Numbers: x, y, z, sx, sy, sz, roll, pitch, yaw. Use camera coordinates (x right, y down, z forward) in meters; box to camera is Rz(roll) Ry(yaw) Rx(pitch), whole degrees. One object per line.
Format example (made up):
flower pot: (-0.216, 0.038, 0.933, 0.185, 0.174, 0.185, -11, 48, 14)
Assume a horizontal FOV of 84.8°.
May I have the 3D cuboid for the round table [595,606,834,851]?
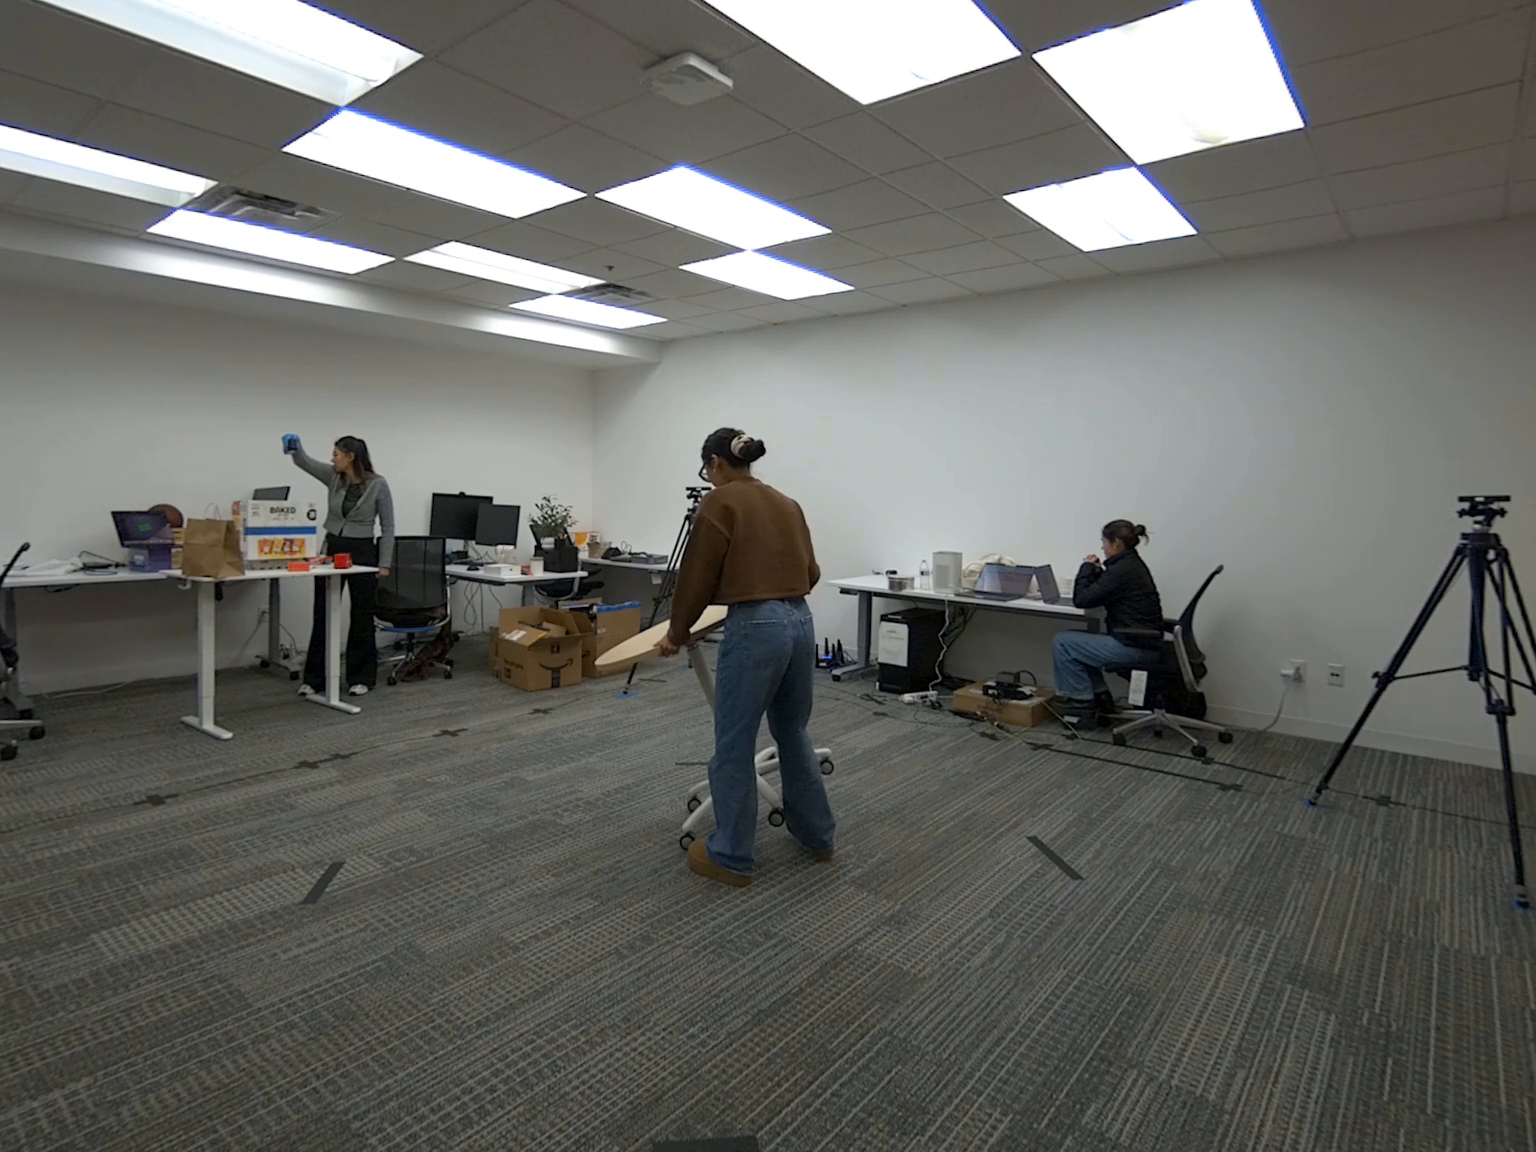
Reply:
round table: (-0.207, 0.557, 3.455, 0.764, 0.791, 0.767, -23, 4, 0)
